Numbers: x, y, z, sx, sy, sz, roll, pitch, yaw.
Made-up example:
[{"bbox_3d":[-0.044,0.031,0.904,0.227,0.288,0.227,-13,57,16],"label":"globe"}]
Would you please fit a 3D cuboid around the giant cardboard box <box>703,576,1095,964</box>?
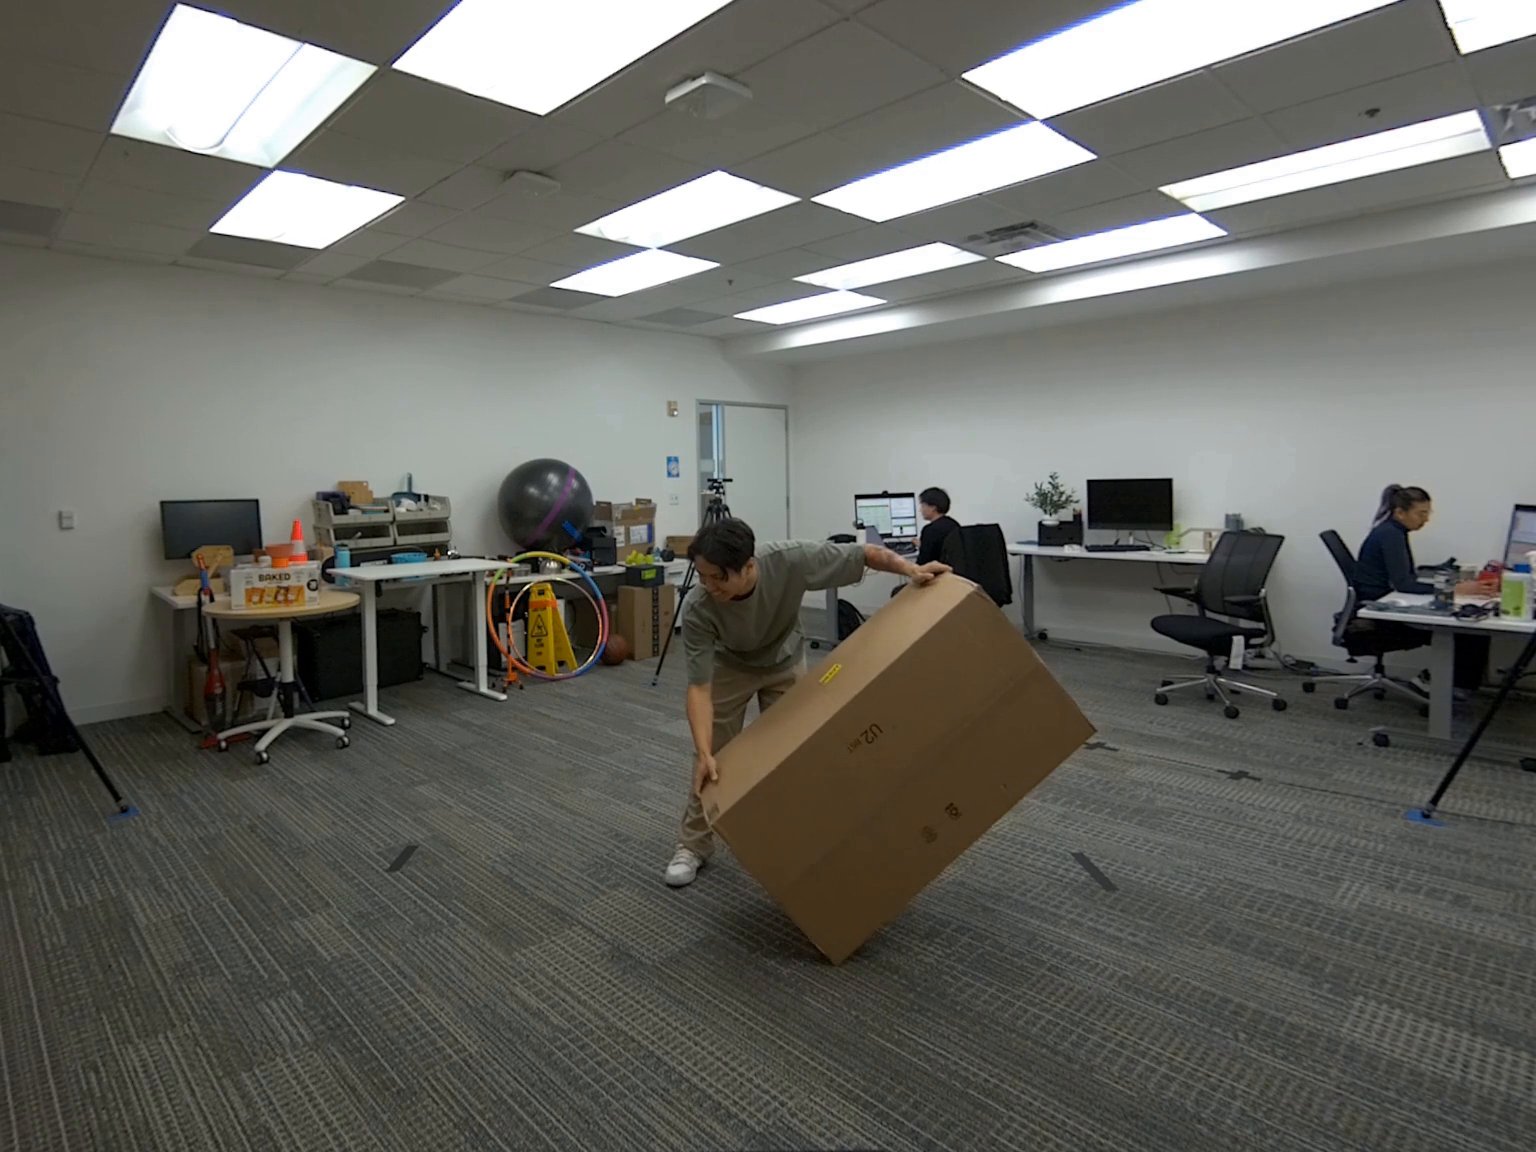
[{"bbox_3d":[0.356,0.553,2.614,1.025,0.571,0.431,-42,9,-2],"label":"giant cardboard box"}]
